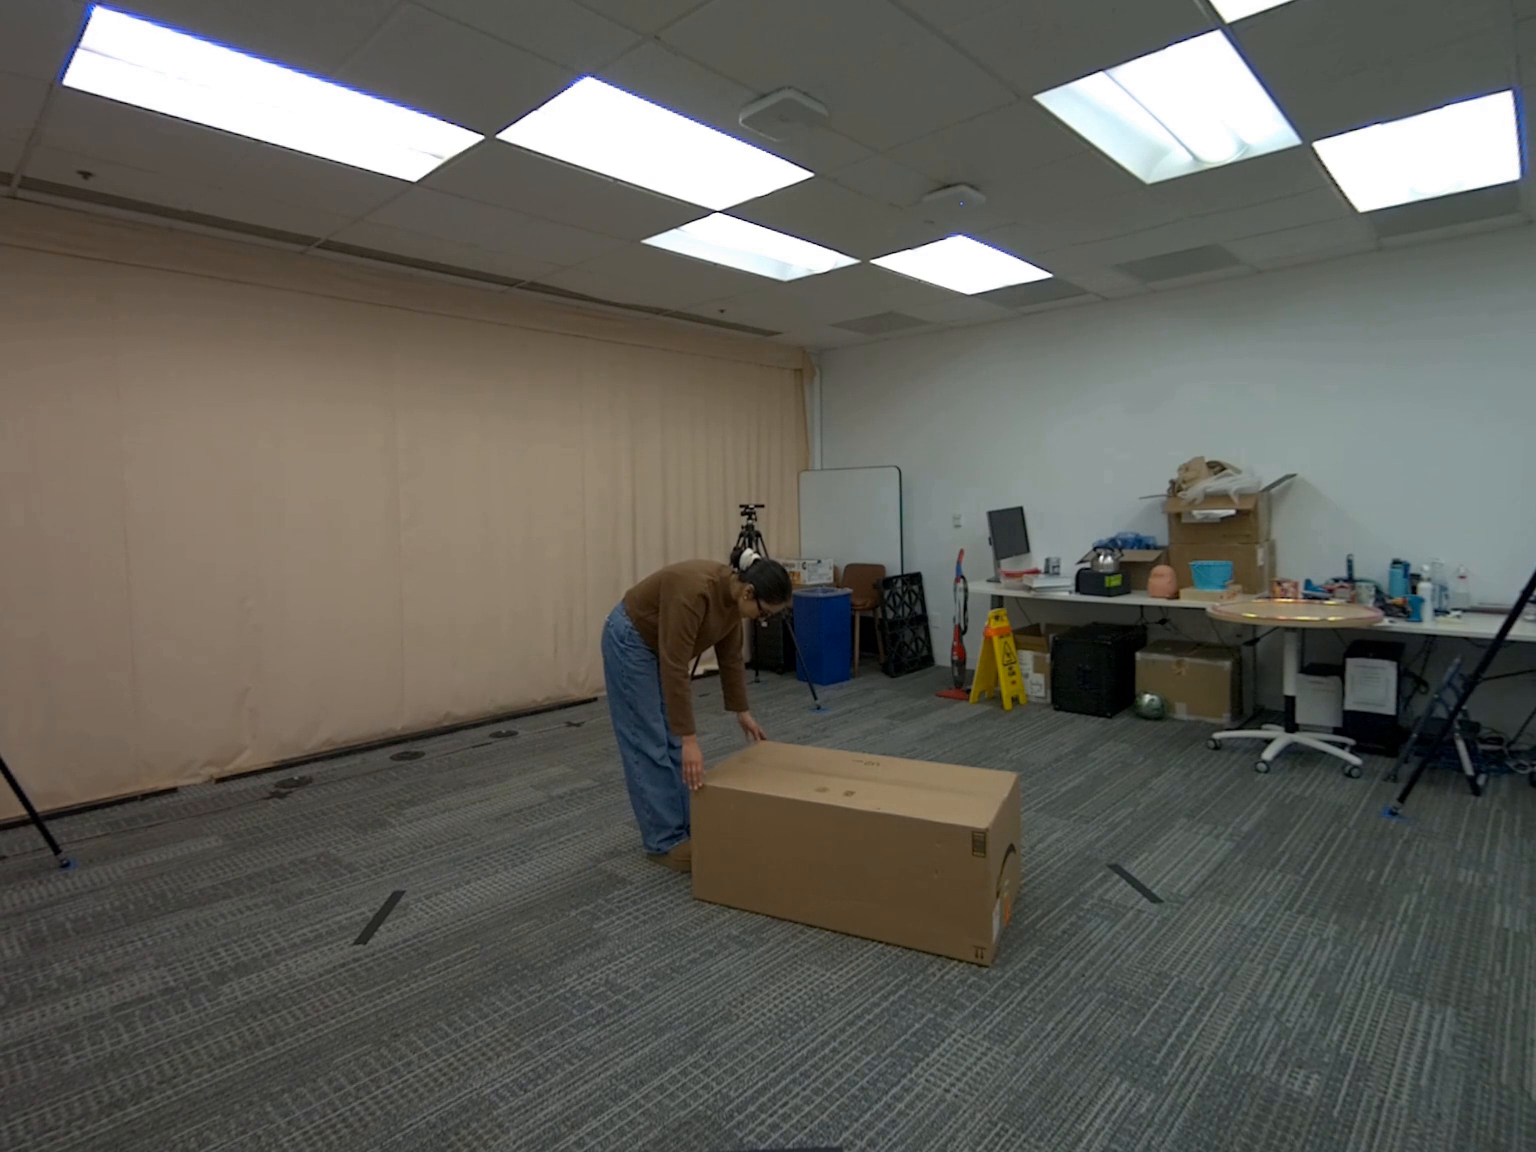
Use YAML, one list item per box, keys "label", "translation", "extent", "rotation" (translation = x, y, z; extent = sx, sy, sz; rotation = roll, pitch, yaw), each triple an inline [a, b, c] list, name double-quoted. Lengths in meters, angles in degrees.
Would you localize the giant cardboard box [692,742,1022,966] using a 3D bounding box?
- label: "giant cardboard box"
  translation: [0.321, 0.920, 2.981]
  extent: [1.055, 0.446, 0.569]
  rotation: [2, 4, 27]
